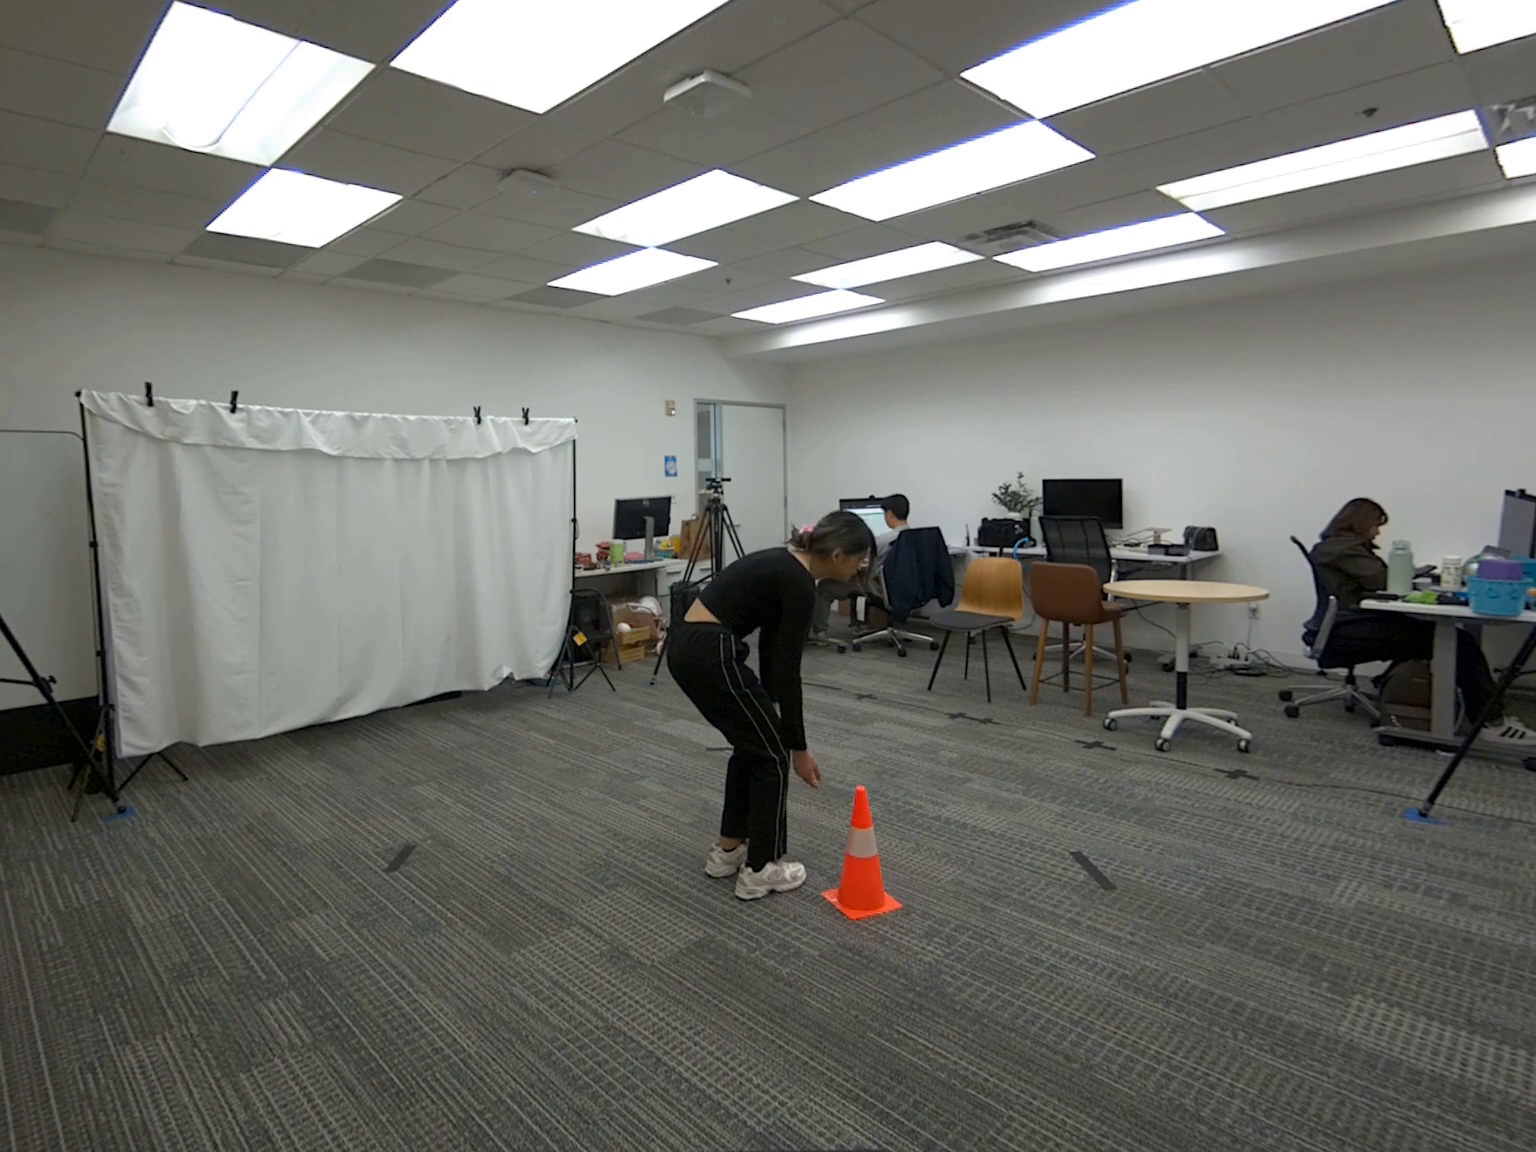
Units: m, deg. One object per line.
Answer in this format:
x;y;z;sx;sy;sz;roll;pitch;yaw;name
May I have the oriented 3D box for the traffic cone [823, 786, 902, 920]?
0.301;0.880;2.805;0.201;0.382;0.208;-4;5;-23;traffic cone
